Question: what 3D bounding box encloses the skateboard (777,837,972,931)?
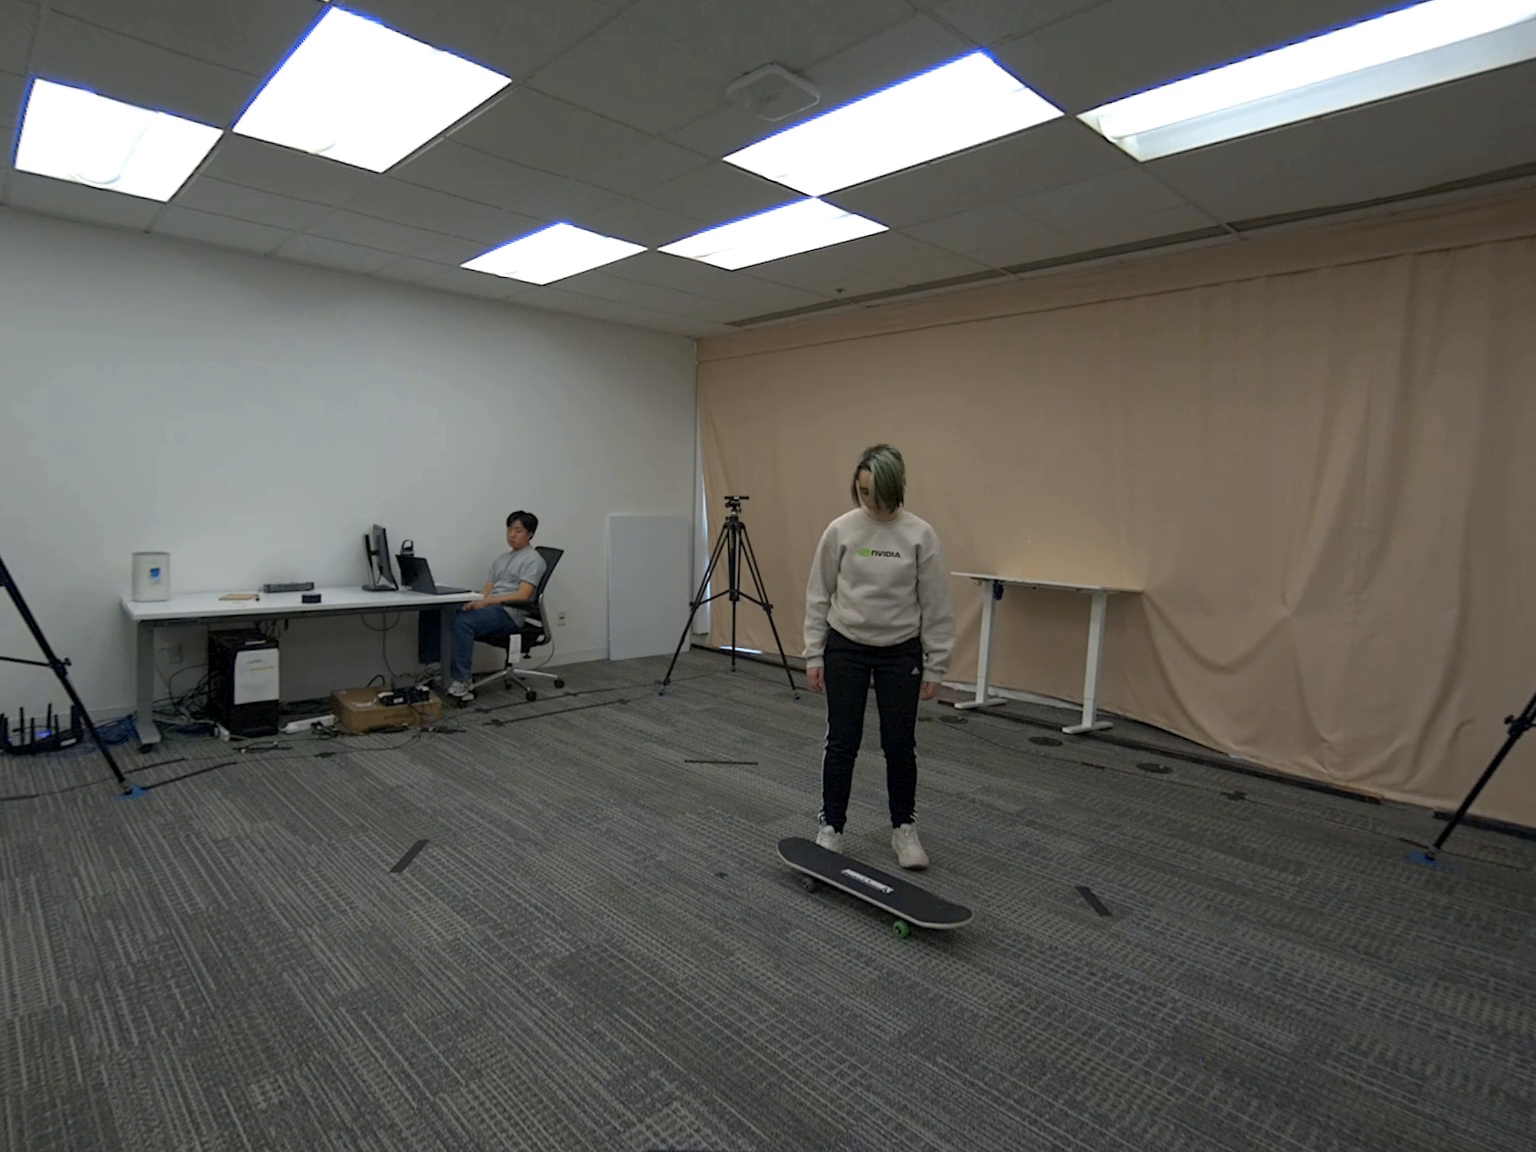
[{"bbox_3d":[0.336,1.083,2.884,0.189,0.110,0.806,-4,8,-43],"label":"skateboard"}]
